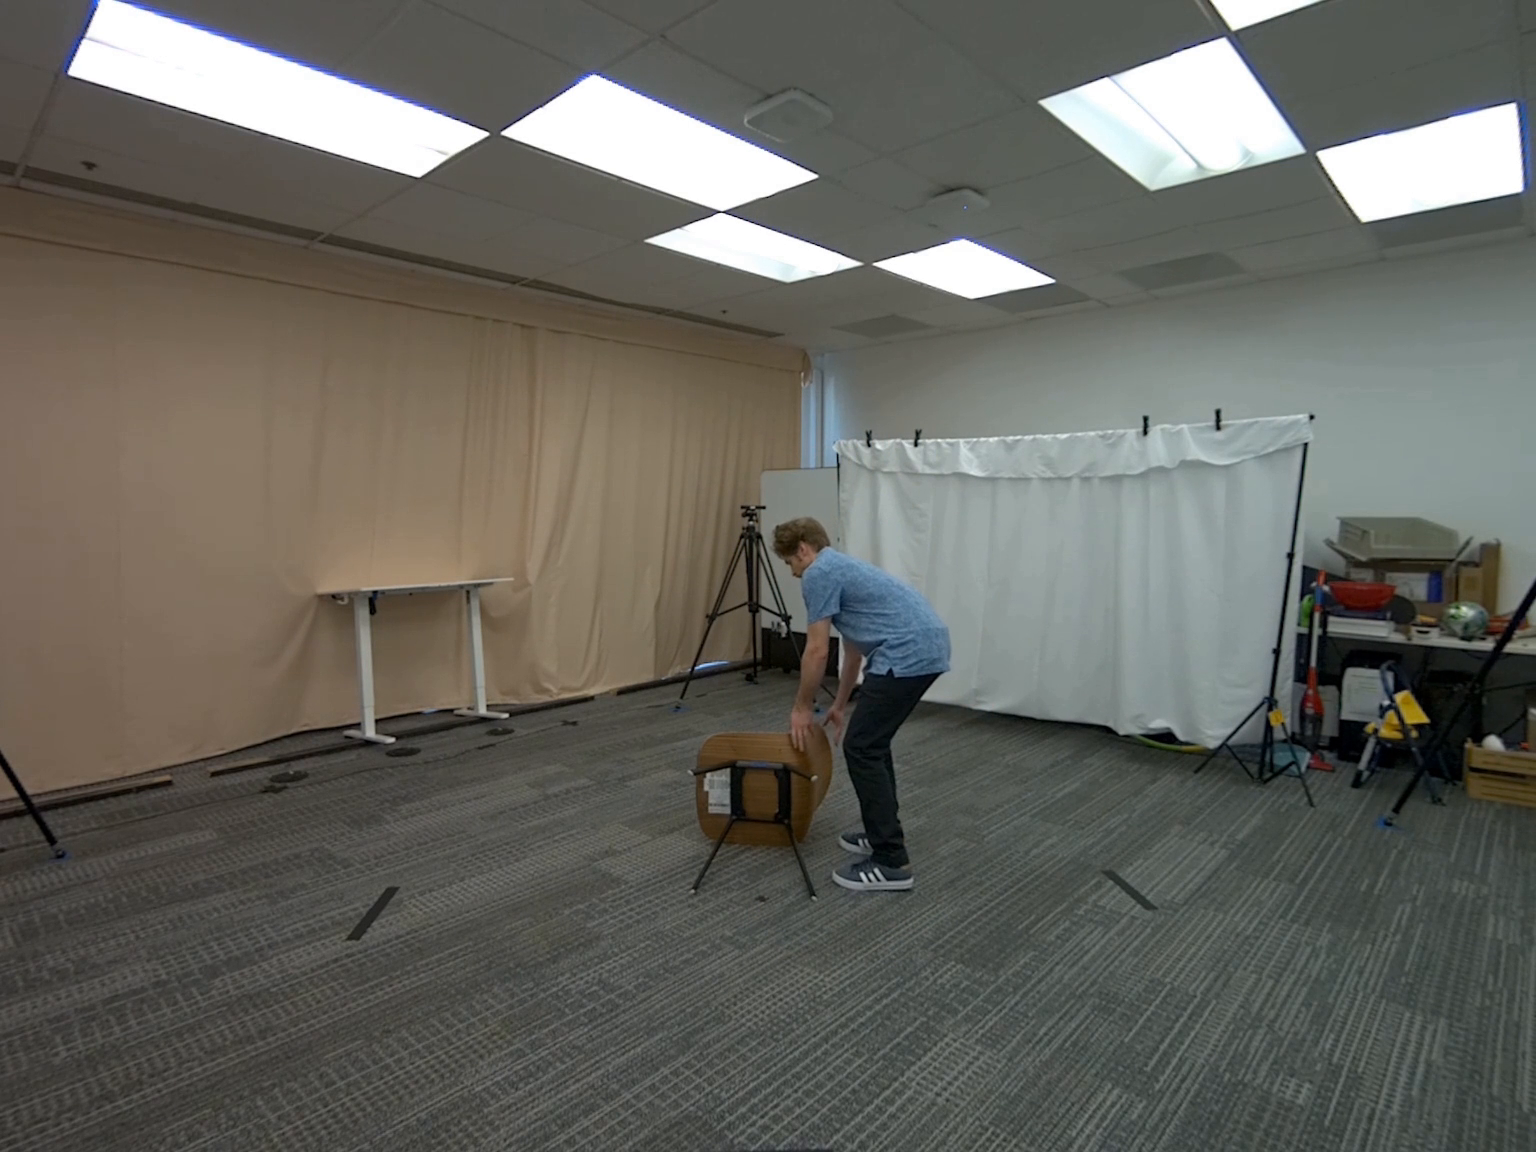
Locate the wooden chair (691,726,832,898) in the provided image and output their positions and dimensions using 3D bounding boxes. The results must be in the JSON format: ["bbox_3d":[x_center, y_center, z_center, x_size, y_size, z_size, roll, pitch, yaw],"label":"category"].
[{"bbox_3d":[-0.021,0.874,3.392,0.529,0.477,0.870,0,5,9],"label":"wooden chair"}]
